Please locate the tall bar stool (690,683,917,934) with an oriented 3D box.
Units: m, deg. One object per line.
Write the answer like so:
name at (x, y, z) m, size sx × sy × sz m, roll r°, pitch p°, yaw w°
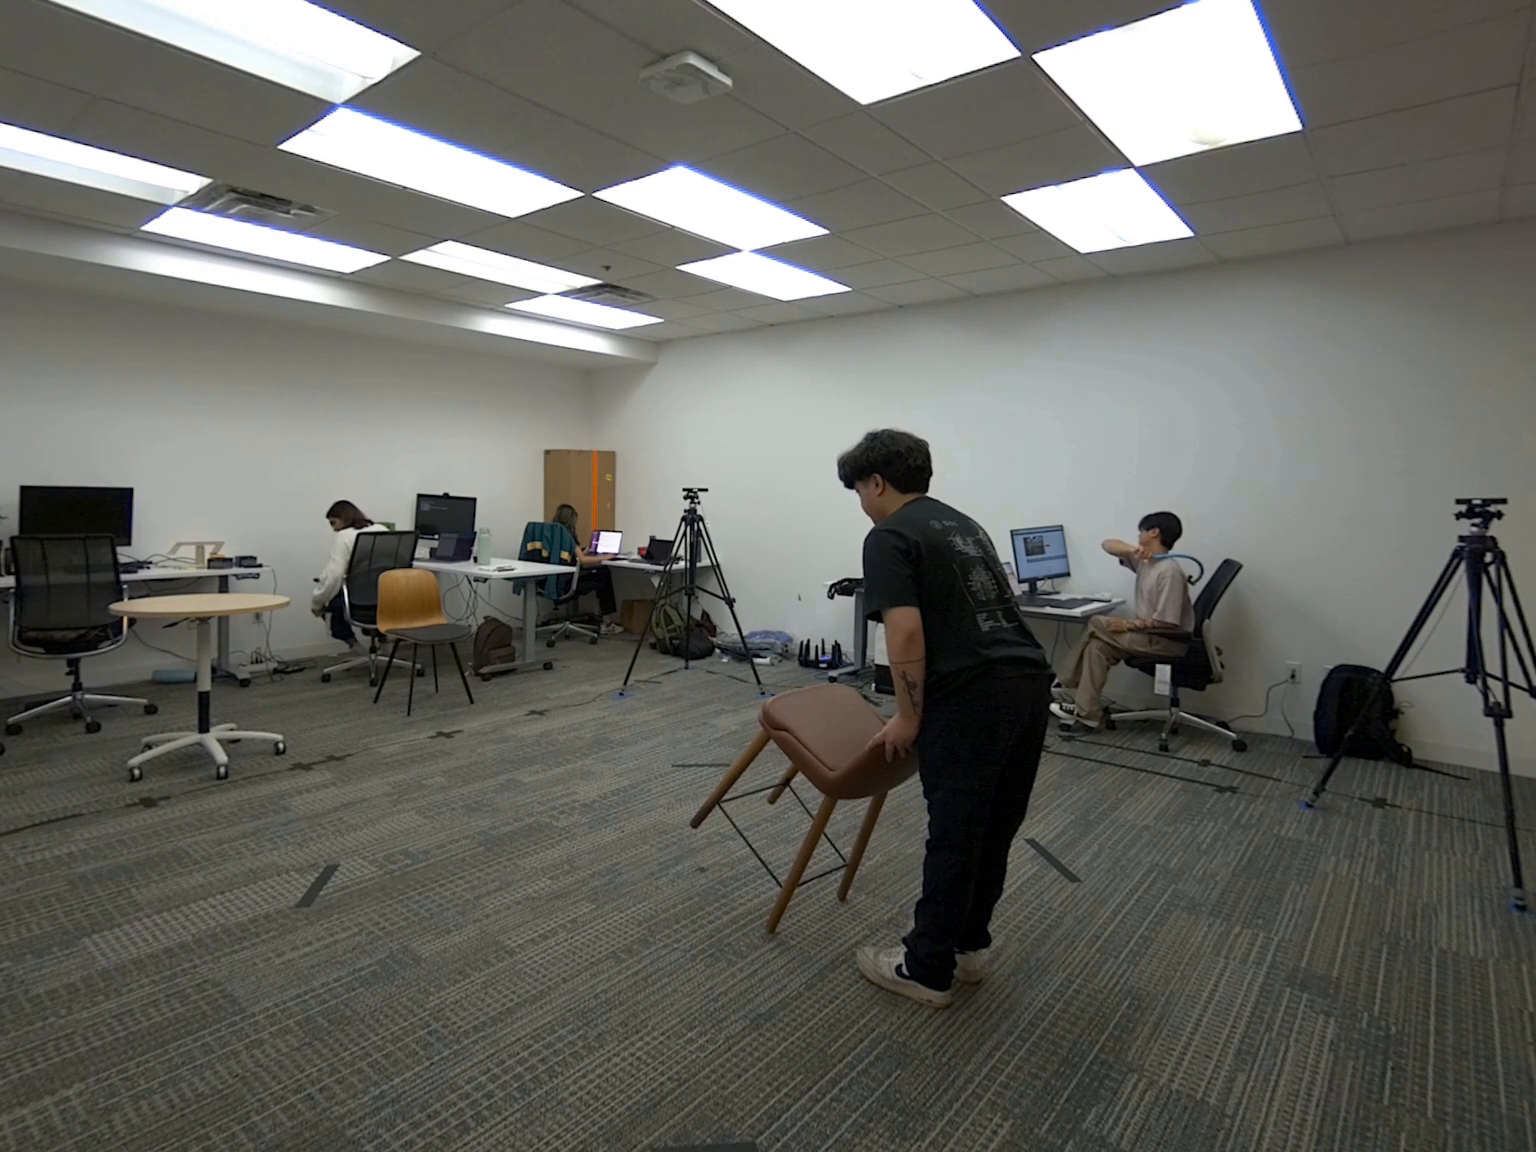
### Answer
tall bar stool at (0.173, 0.632, 2.728) m, size 0.442 × 0.881 × 0.487 m, roll -1°, pitch 38°, yaw -44°
